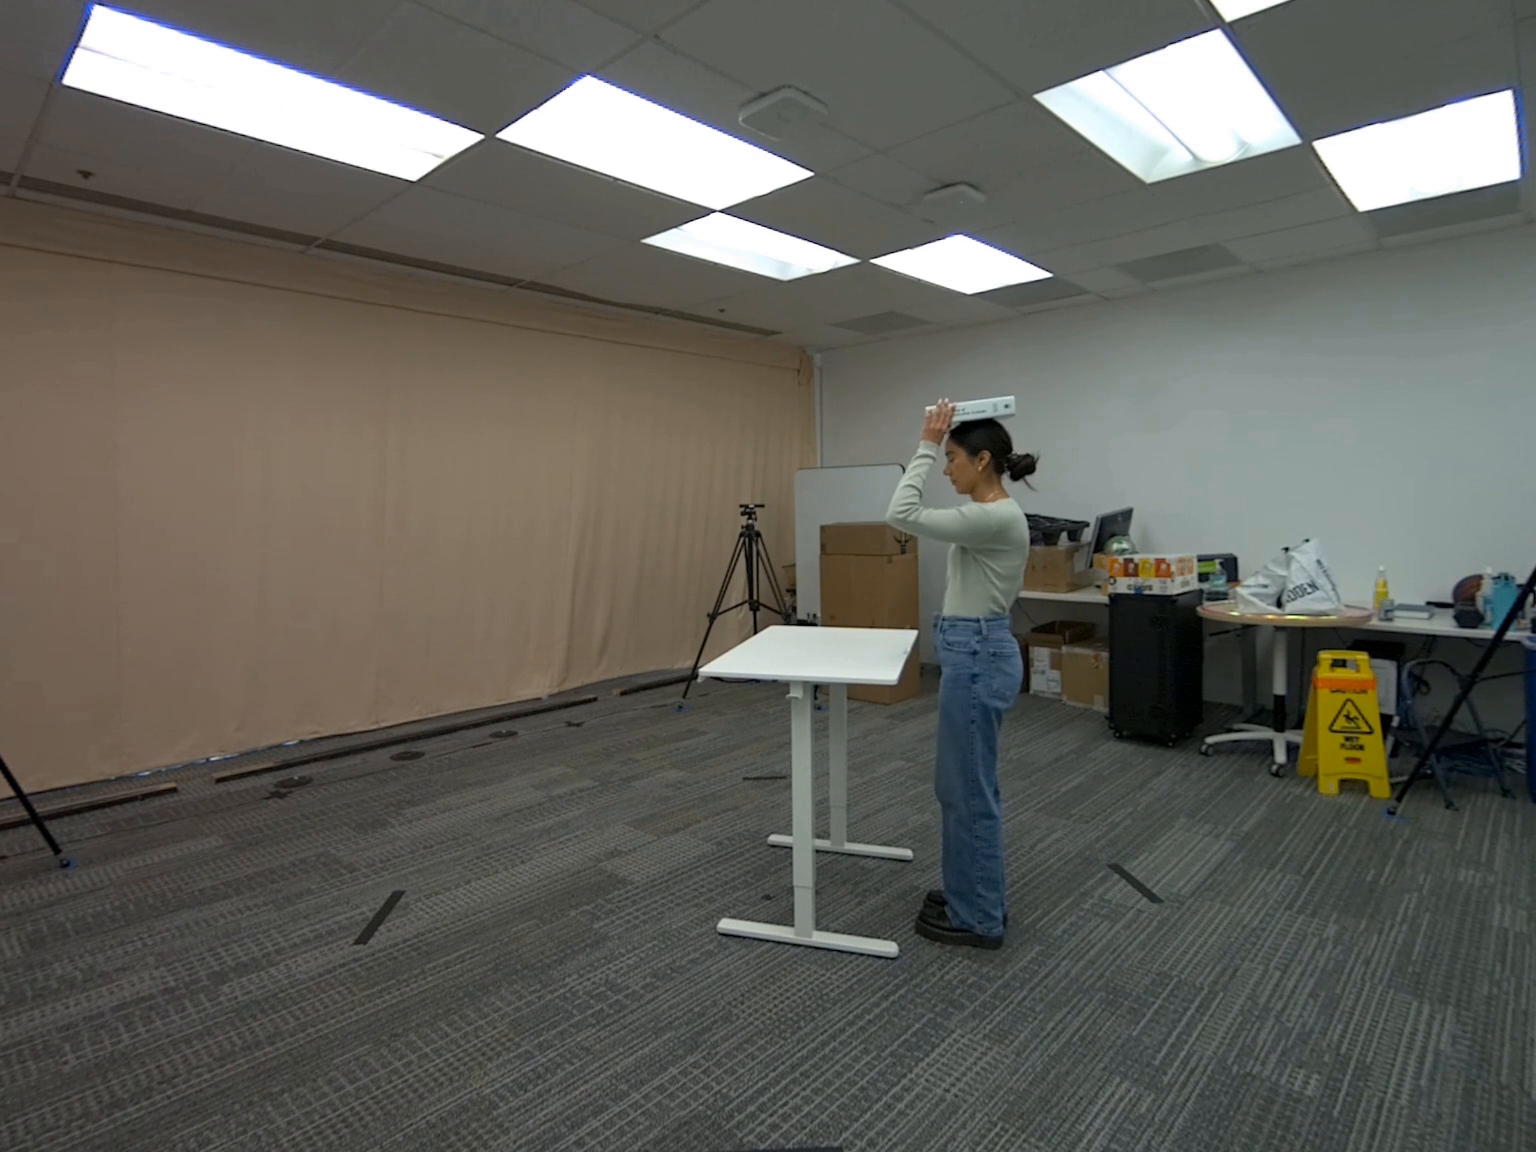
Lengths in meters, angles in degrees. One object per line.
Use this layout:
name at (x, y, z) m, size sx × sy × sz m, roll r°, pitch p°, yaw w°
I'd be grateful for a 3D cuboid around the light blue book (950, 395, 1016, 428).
light blue book at (0.651, -0.517, 2.655) m, size 0.265 × 0.059 × 0.189 m, roll -4°, pitch 6°, yaw 15°
